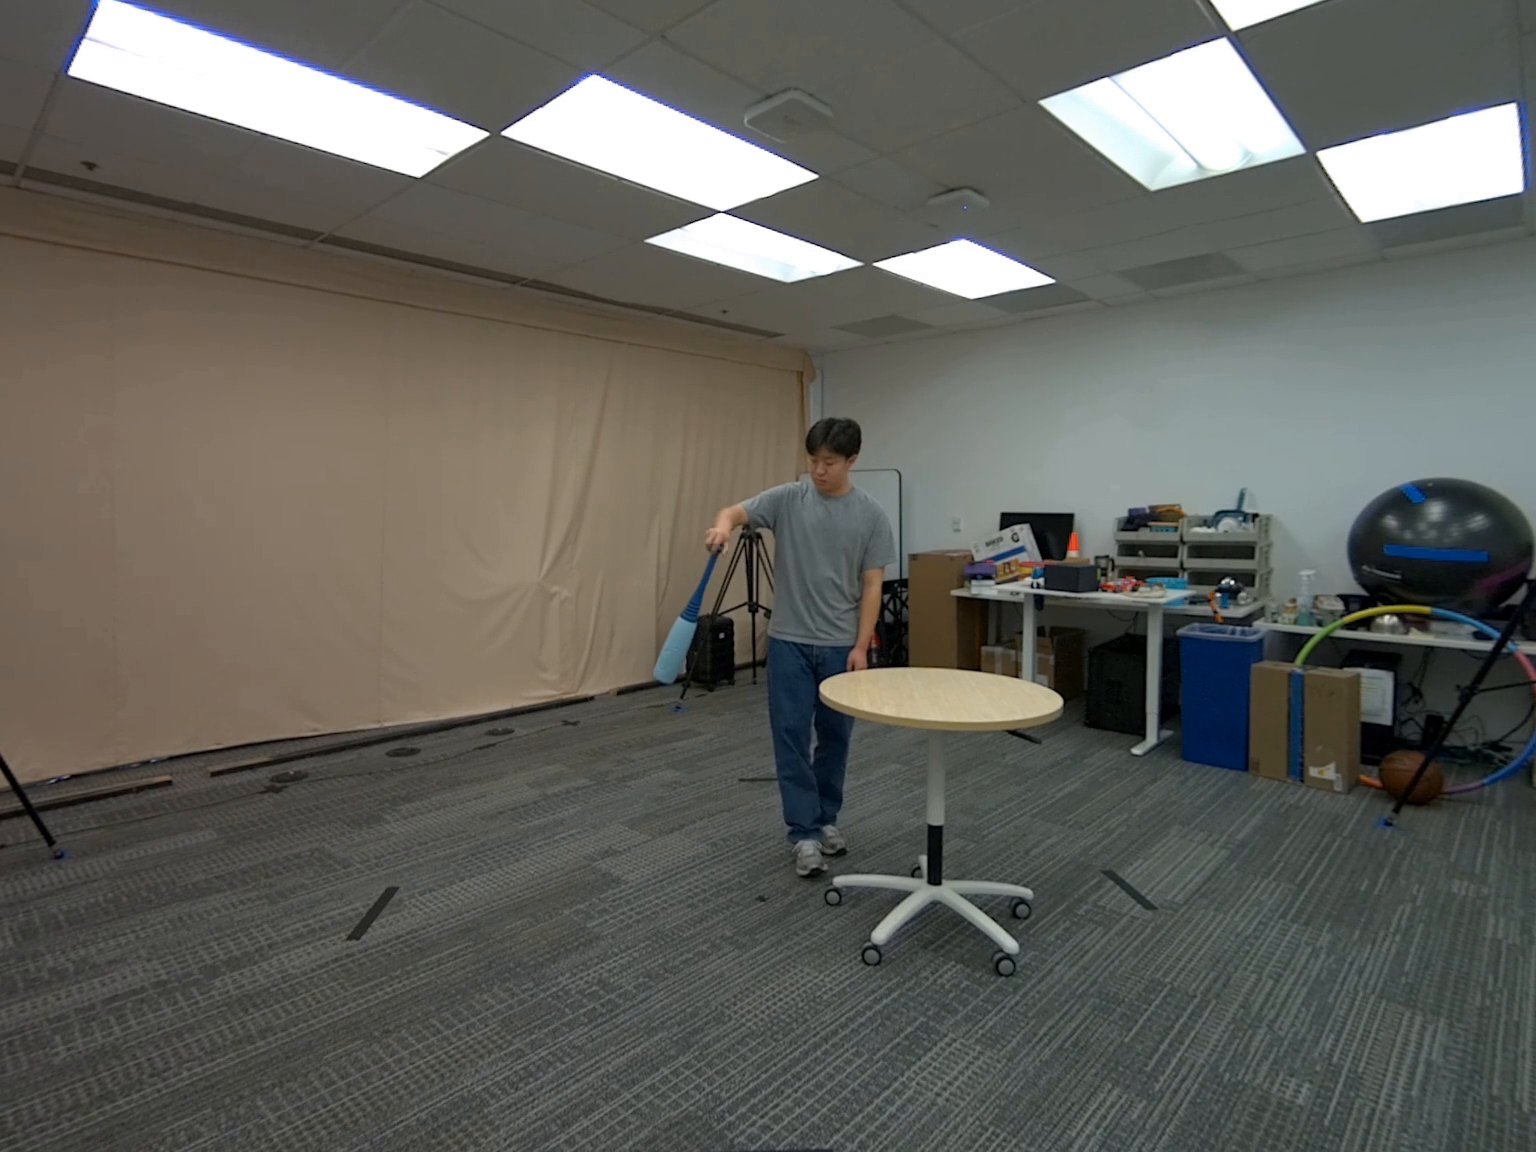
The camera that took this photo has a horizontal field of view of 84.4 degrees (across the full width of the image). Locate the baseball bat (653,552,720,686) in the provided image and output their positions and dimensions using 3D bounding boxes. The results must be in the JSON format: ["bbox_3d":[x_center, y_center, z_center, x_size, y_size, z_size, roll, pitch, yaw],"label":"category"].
[{"bbox_3d":[-0.260,0.145,3.021,0.088,0.542,0.090,23,9,-6],"label":"baseball bat"}]
